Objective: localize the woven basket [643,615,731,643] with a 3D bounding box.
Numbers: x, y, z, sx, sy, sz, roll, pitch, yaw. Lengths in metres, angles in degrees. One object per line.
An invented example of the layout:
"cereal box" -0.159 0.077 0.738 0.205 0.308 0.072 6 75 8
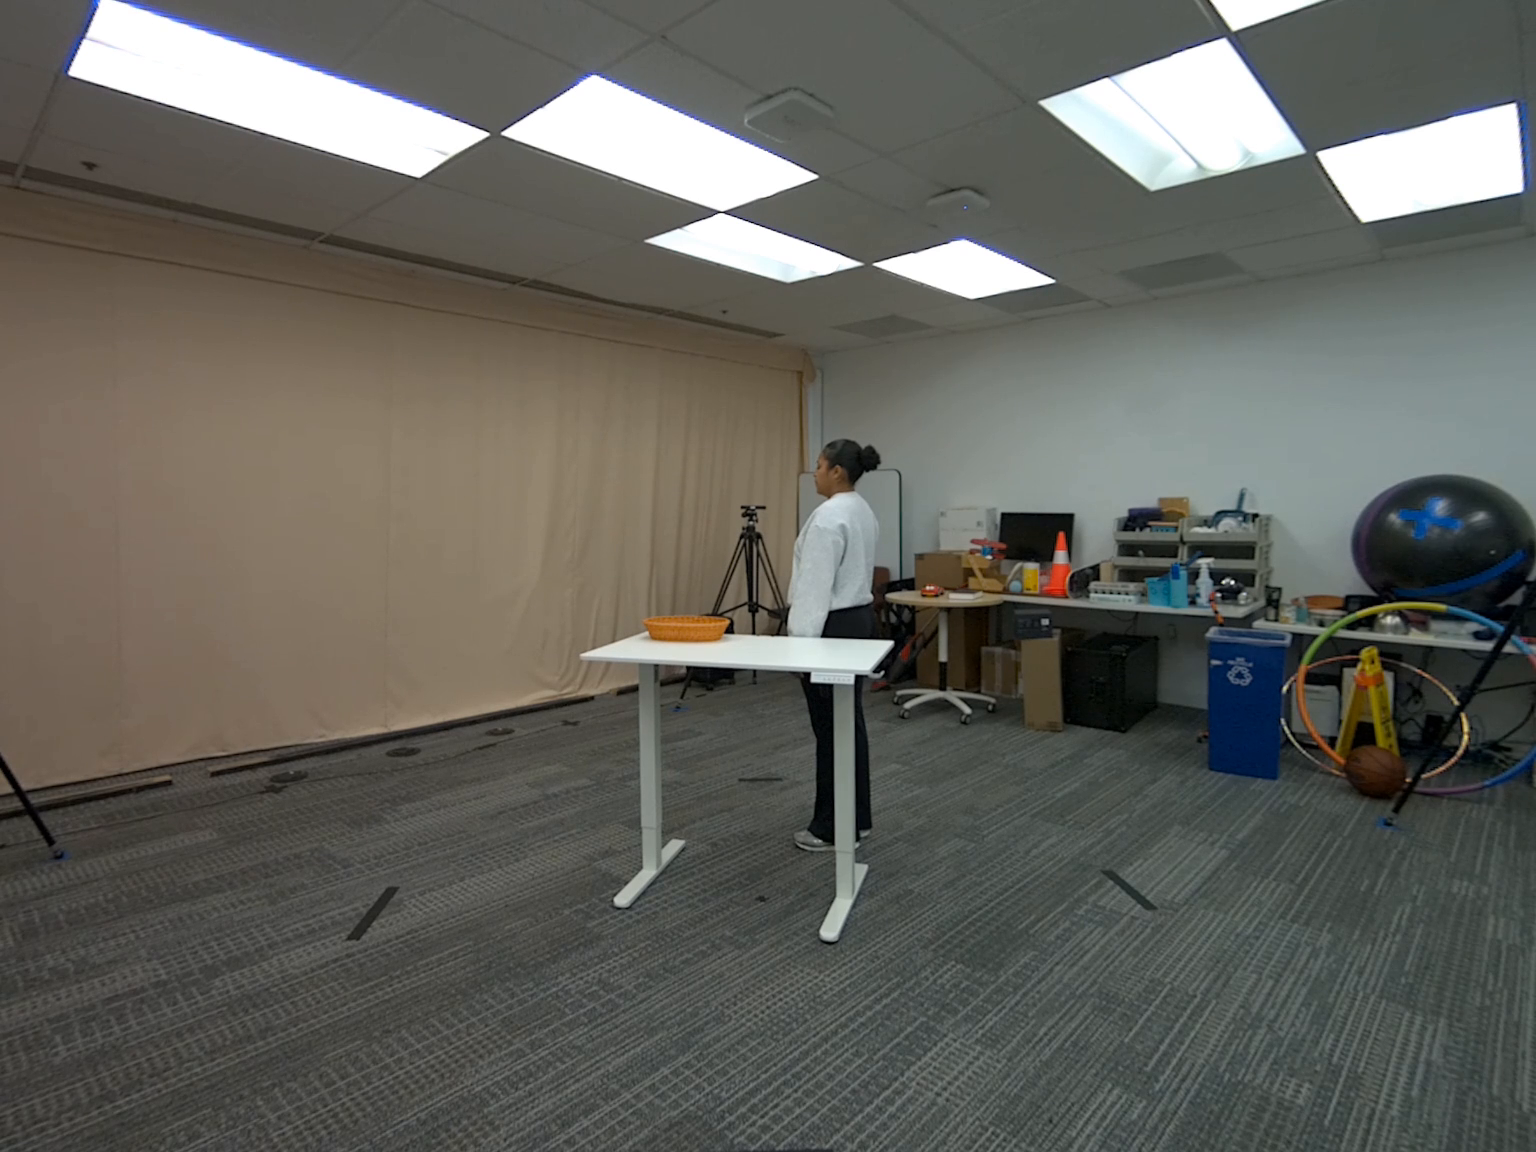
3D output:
"woven basket" -0.322 0.211 3.270 0.356 0.073 0.249 1 6 14
